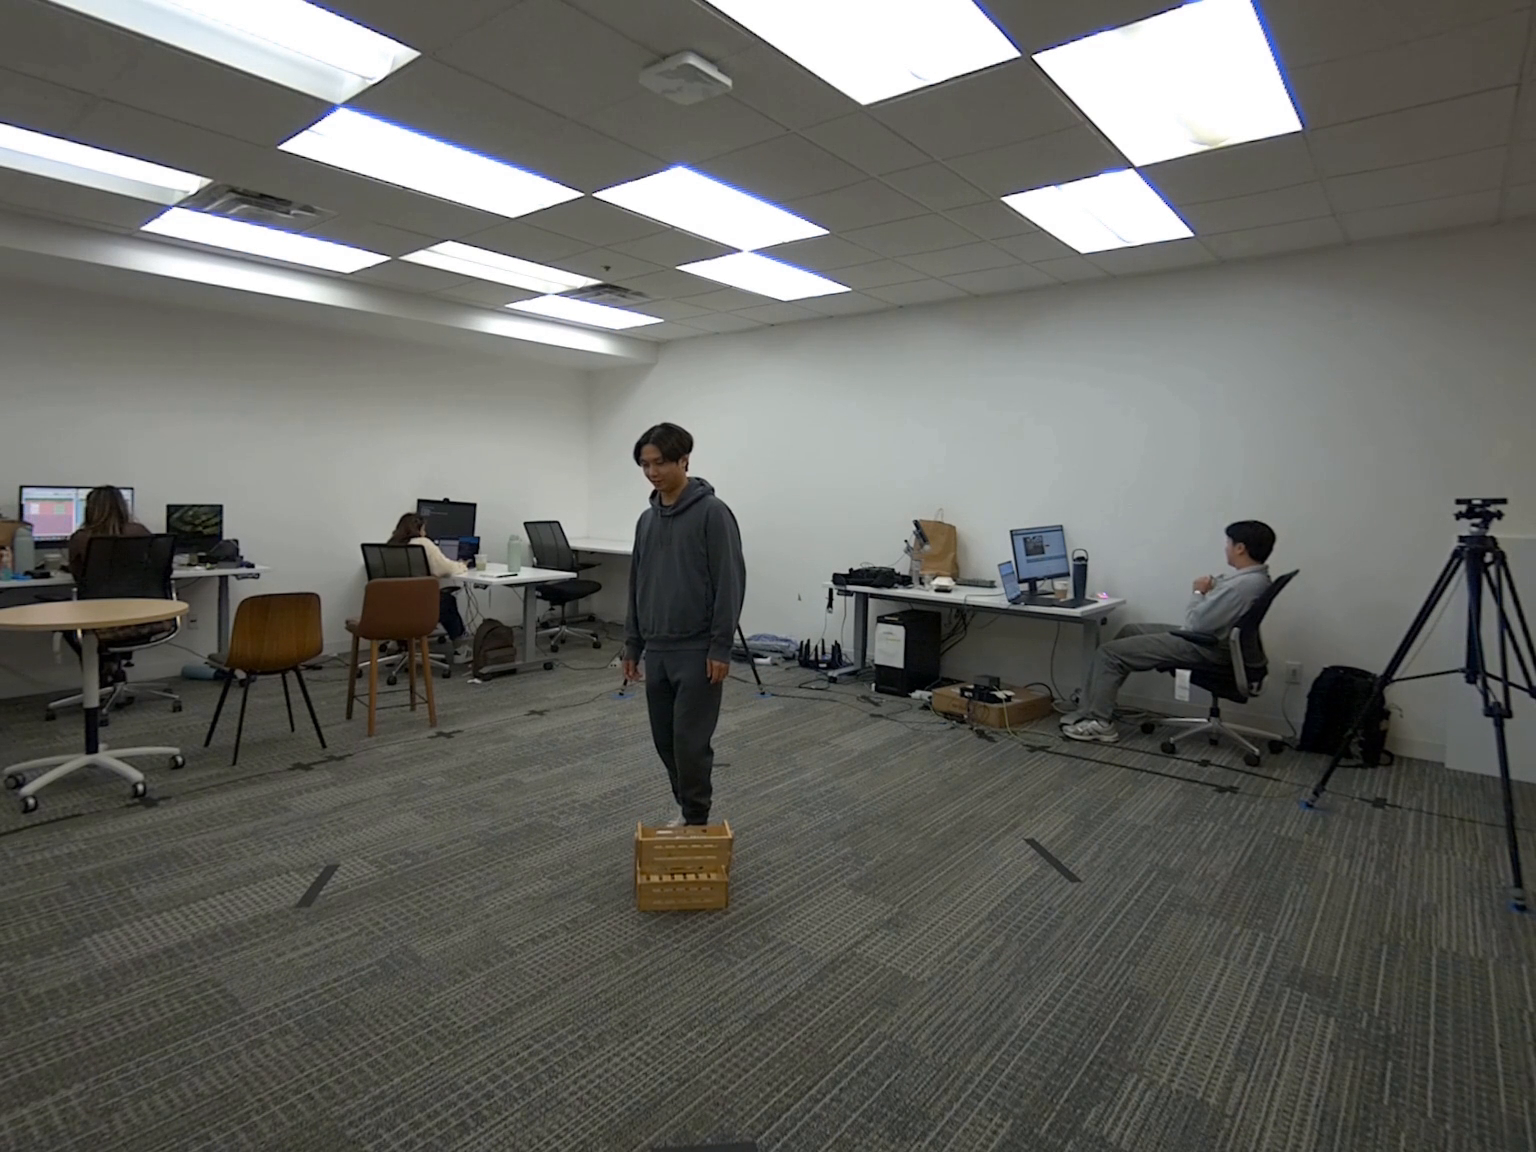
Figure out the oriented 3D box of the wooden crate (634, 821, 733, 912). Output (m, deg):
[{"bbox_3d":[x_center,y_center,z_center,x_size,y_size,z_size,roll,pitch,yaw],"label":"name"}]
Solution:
[{"bbox_3d":[-0.307,0.956,2.901,0.321,0.272,0.306,0,4,-9],"label":"wooden crate"}]
